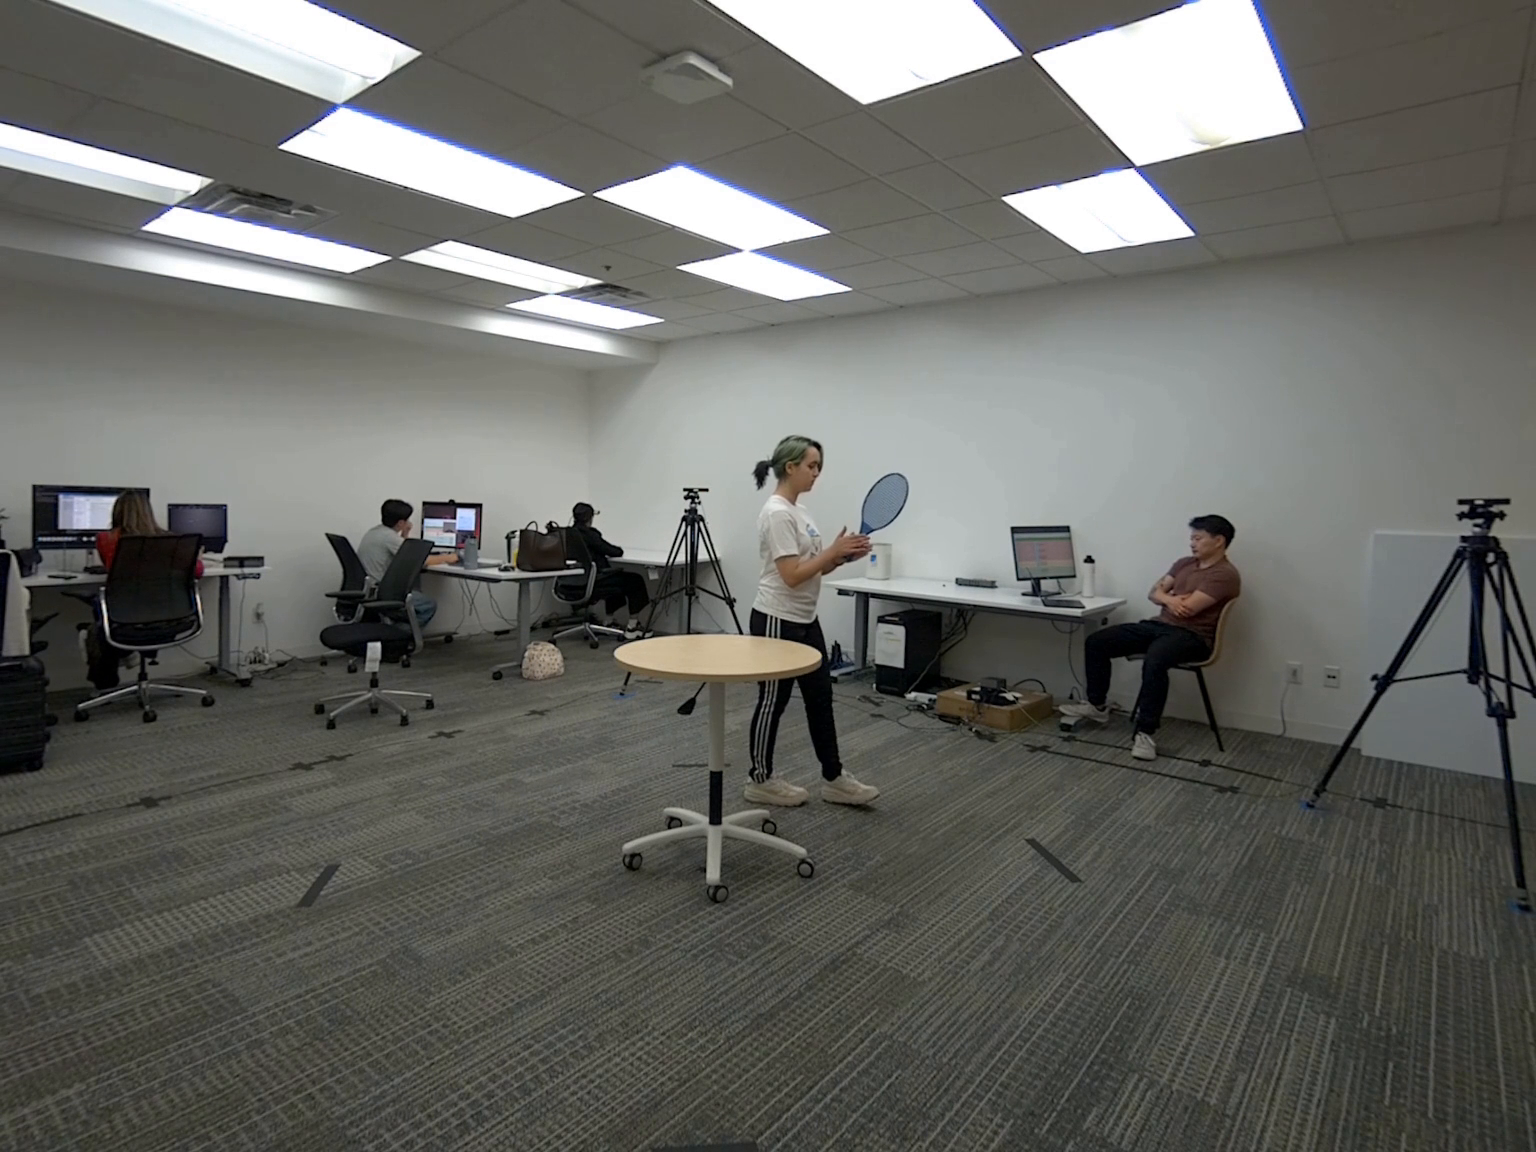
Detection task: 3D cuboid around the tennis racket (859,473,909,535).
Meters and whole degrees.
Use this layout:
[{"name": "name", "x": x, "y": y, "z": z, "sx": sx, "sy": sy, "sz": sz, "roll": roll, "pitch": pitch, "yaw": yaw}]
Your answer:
[{"name": "tennis racket", "x": 0.437, "y": -0.259, "z": 3.621, "sx": 0.030, "sy": 0.432, "sz": 0.223, "roll": 24, "pitch": 22, "yaw": -40}]
